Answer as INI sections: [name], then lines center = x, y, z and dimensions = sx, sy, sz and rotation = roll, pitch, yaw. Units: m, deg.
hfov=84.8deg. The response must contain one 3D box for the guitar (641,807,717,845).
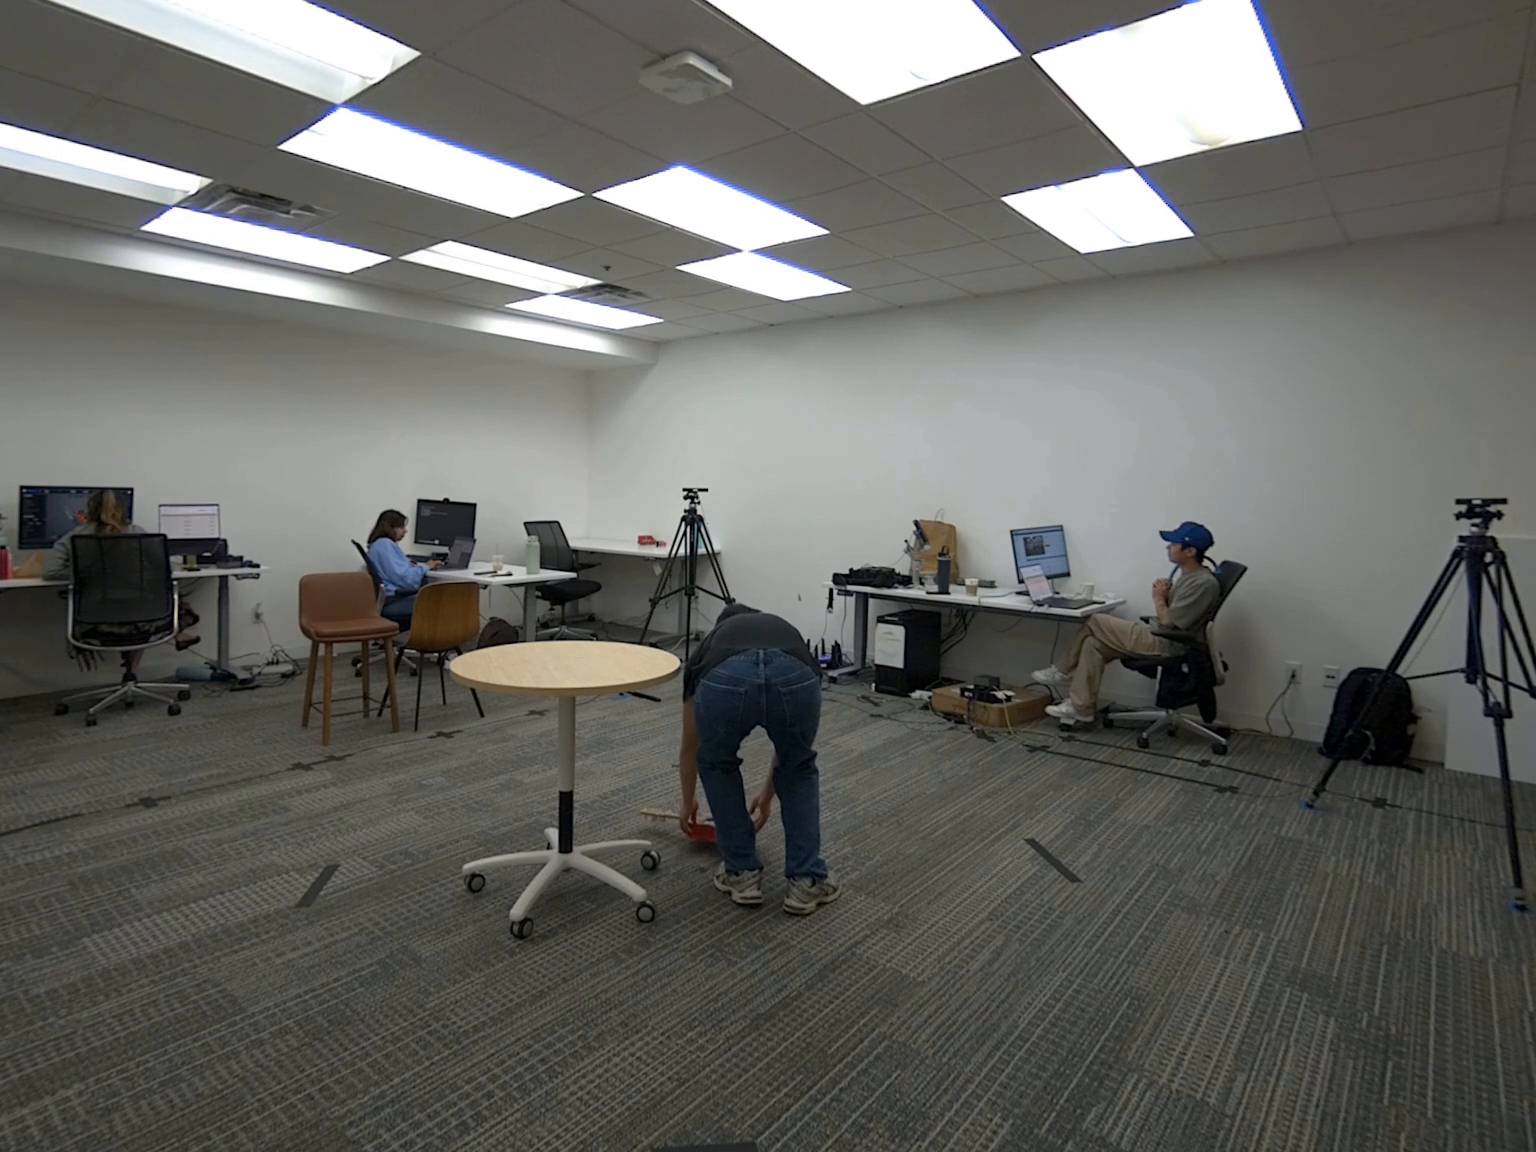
[guitar]
center = -0.290, 0.979, 3.384
dimensions = 0.512, 0.071, 0.187
rotation = 0, 1, 34
